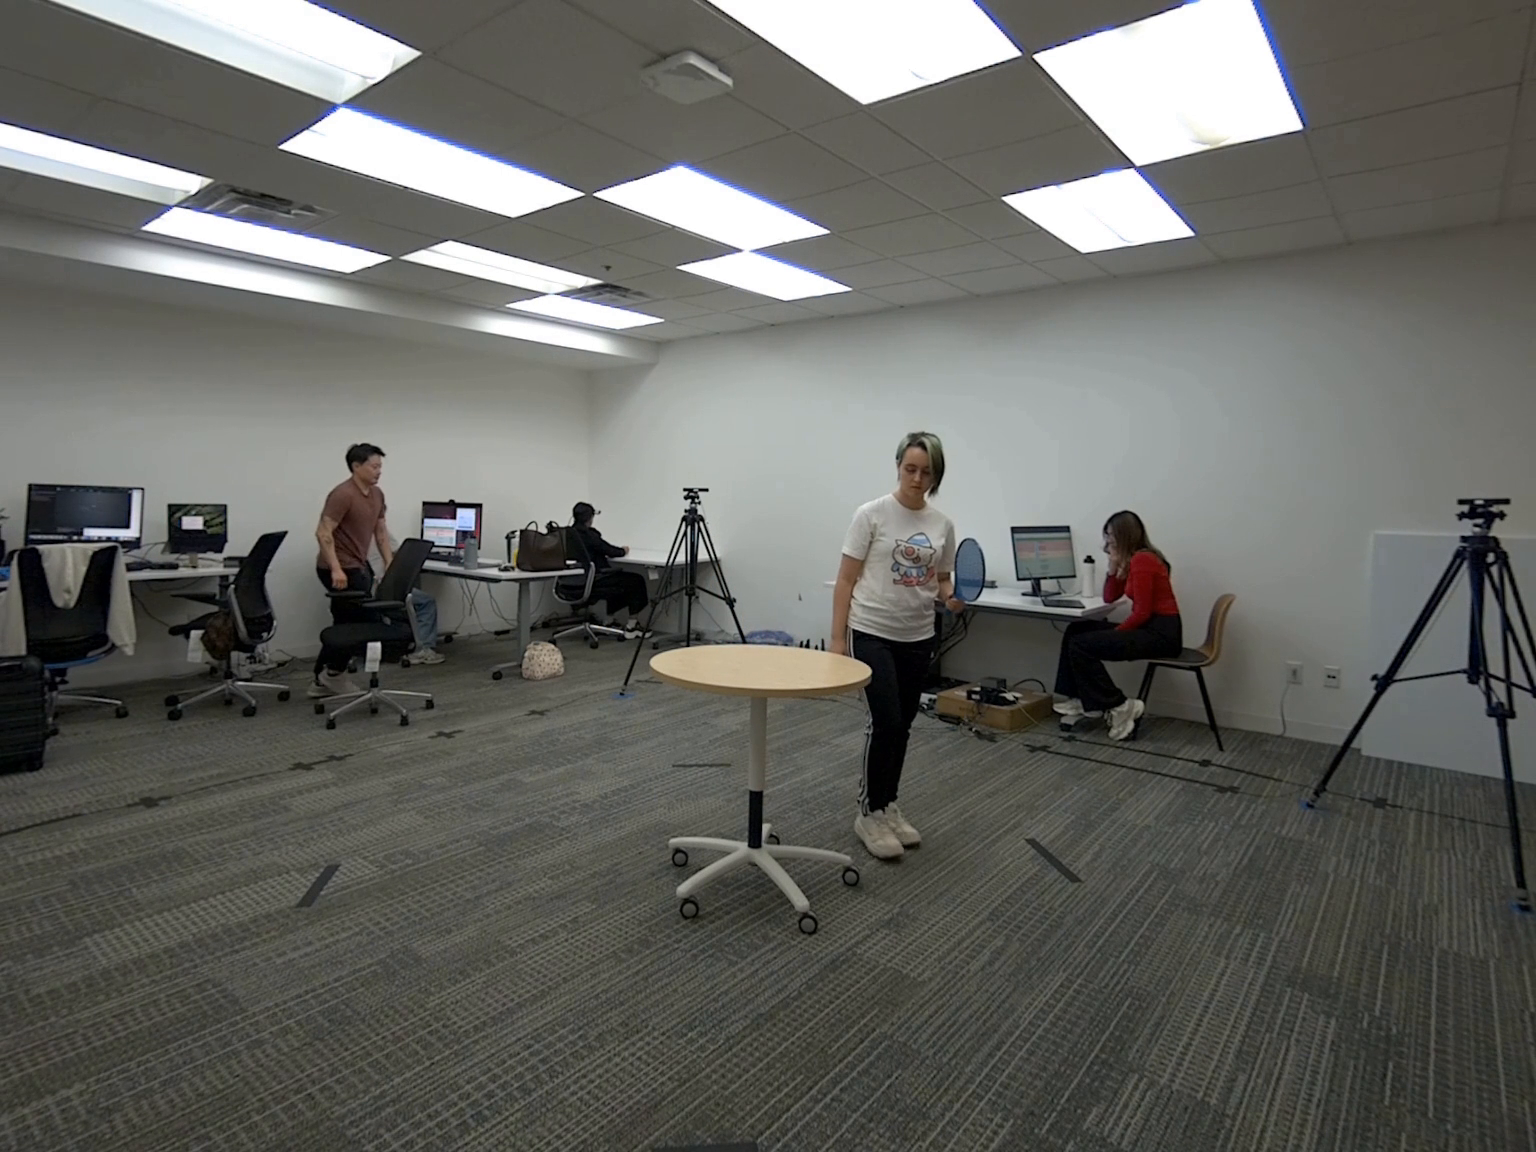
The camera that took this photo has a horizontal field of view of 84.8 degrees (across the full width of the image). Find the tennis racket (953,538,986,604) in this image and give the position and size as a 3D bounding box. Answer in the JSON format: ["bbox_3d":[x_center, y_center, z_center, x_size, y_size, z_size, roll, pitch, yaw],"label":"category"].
[{"bbox_3d":[0.710,0.015,3.116,0.031,0.219,0.424,-1,-26,-7],"label":"tennis racket"}]
